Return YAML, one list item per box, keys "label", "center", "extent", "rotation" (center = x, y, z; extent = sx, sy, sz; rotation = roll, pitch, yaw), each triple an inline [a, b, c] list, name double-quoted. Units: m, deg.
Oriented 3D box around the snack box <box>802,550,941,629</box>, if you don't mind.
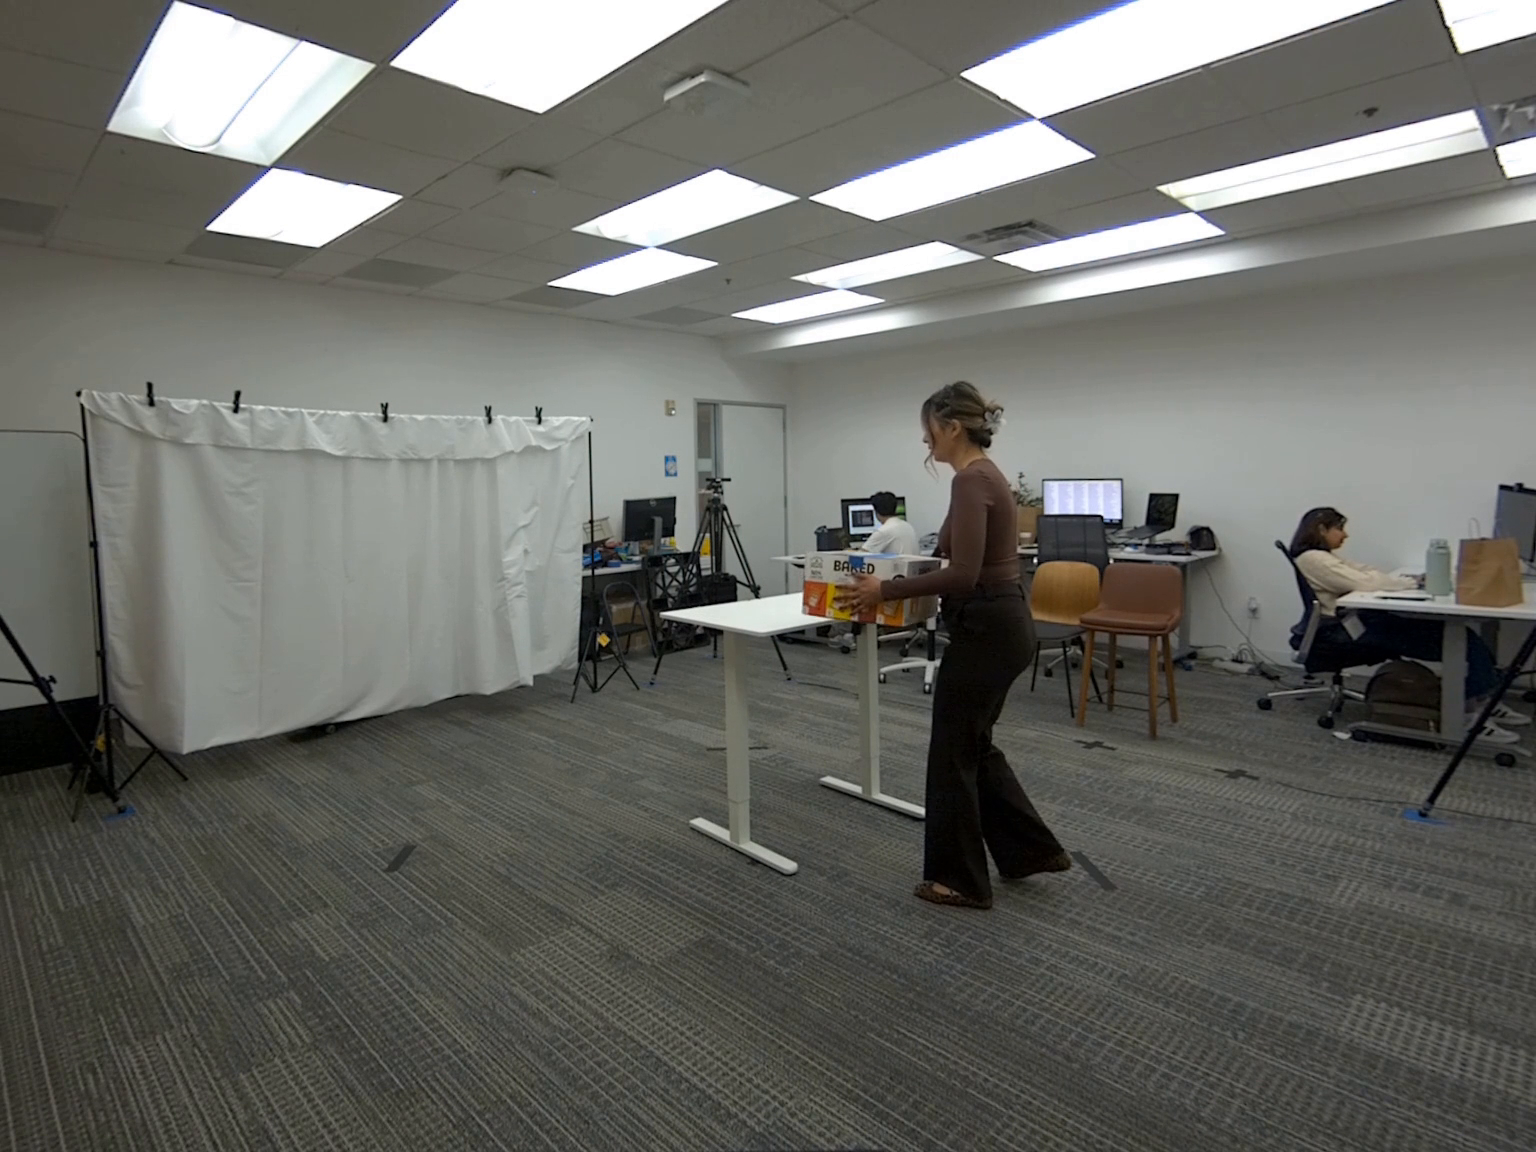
- label: "snack box"
  center: [0.359, 0.033, 2.848]
  extent: [0.349, 0.205, 0.395]
  rotation: [6, 4, 27]
